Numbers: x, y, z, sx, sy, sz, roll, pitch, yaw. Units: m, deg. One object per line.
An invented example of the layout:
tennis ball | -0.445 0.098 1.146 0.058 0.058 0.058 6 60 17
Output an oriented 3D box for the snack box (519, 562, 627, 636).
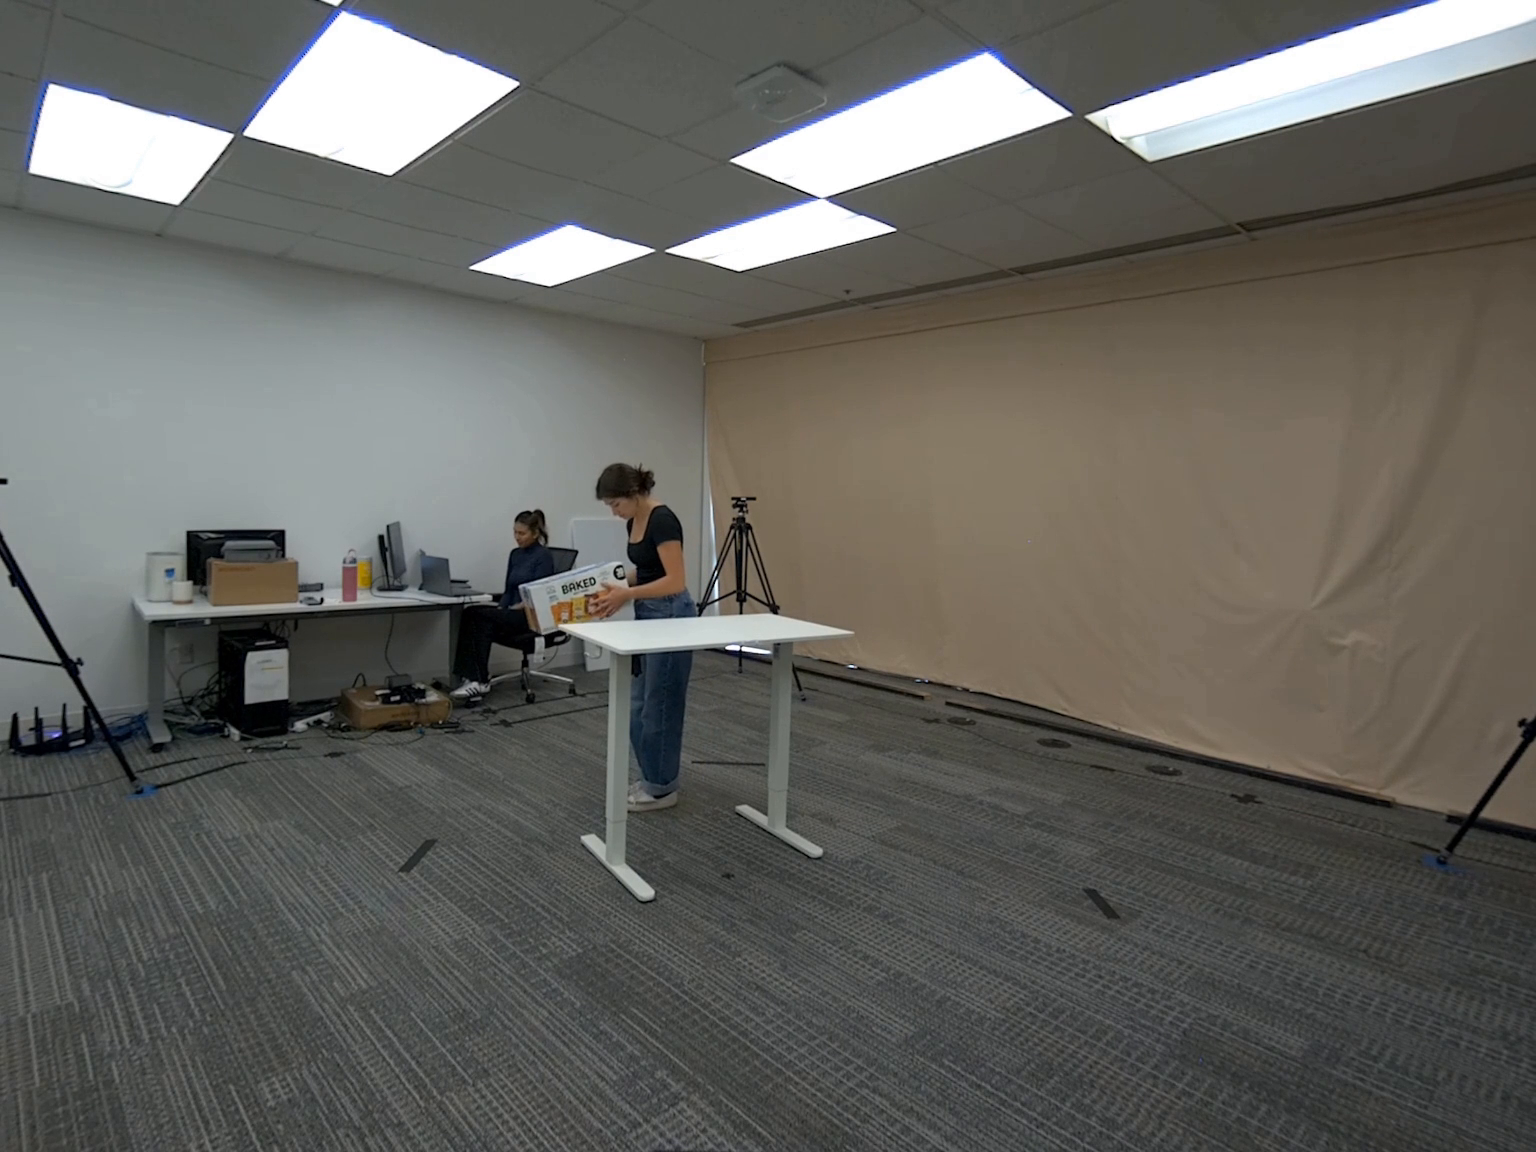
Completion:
snack box | -0.852 0.087 3.681 0.400 0.204 0.346 -17 8 -22
